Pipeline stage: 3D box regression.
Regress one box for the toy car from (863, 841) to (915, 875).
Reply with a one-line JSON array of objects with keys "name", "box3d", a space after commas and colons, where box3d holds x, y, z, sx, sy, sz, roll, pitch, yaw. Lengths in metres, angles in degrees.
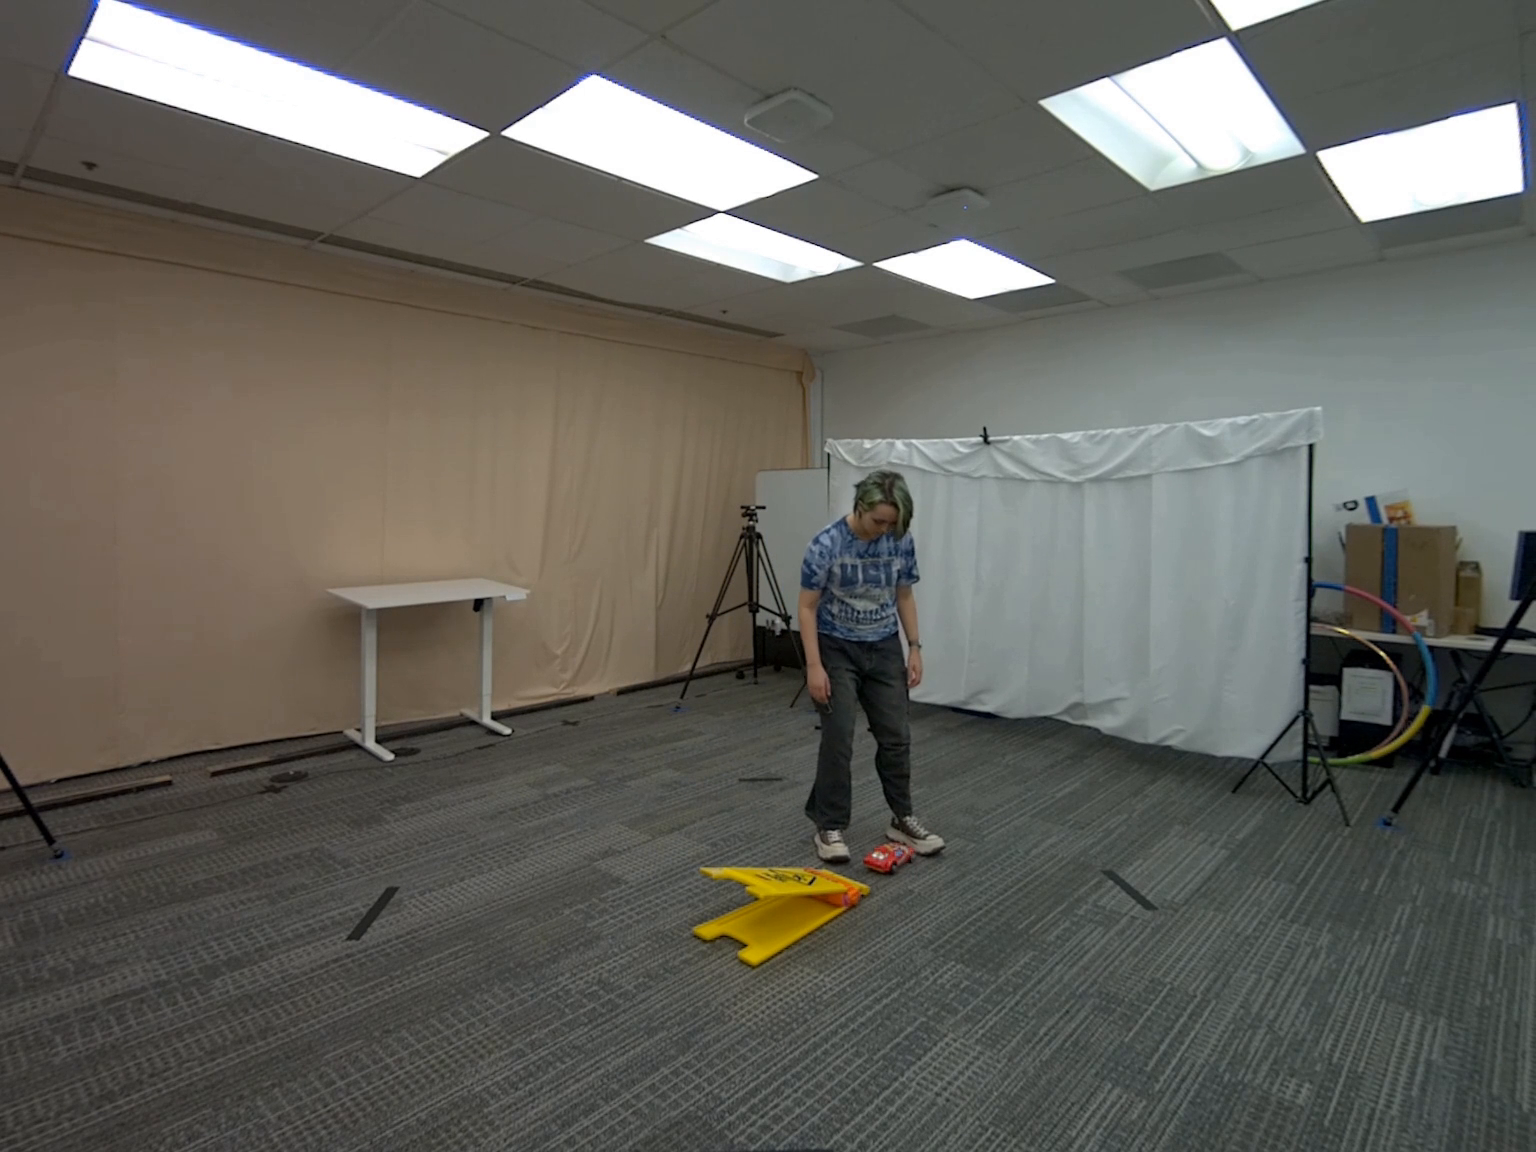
[{"name": "toy car", "box3d": [0.470, 1.089, 3.251, 0.134, 0.083, 0.246, 4, -5, 41]}]
